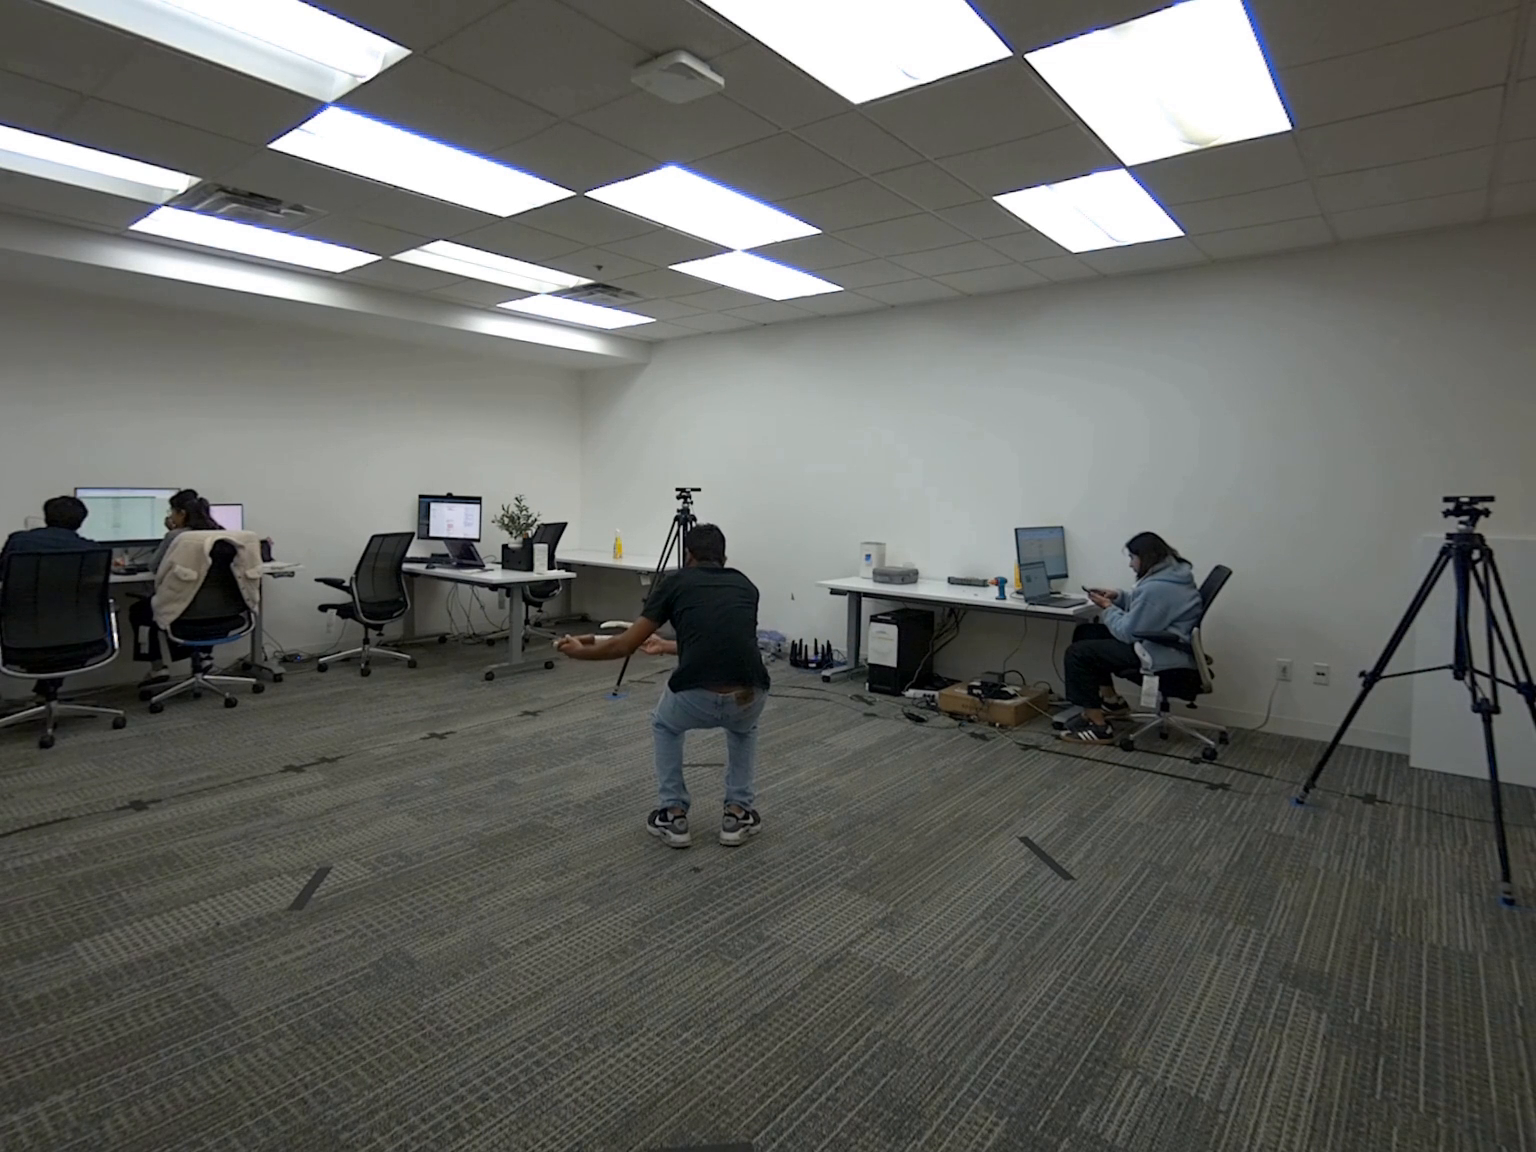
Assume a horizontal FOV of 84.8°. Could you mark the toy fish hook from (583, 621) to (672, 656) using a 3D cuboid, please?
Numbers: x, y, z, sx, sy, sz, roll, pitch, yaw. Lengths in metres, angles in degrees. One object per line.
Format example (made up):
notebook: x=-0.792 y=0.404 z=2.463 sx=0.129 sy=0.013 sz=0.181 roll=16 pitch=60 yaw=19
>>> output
toy fish hook: x=-0.749 y=0.263 z=3.794 sx=0.491 sy=0.048 sz=0.234 roll=-1 pitch=17 yaw=-37
